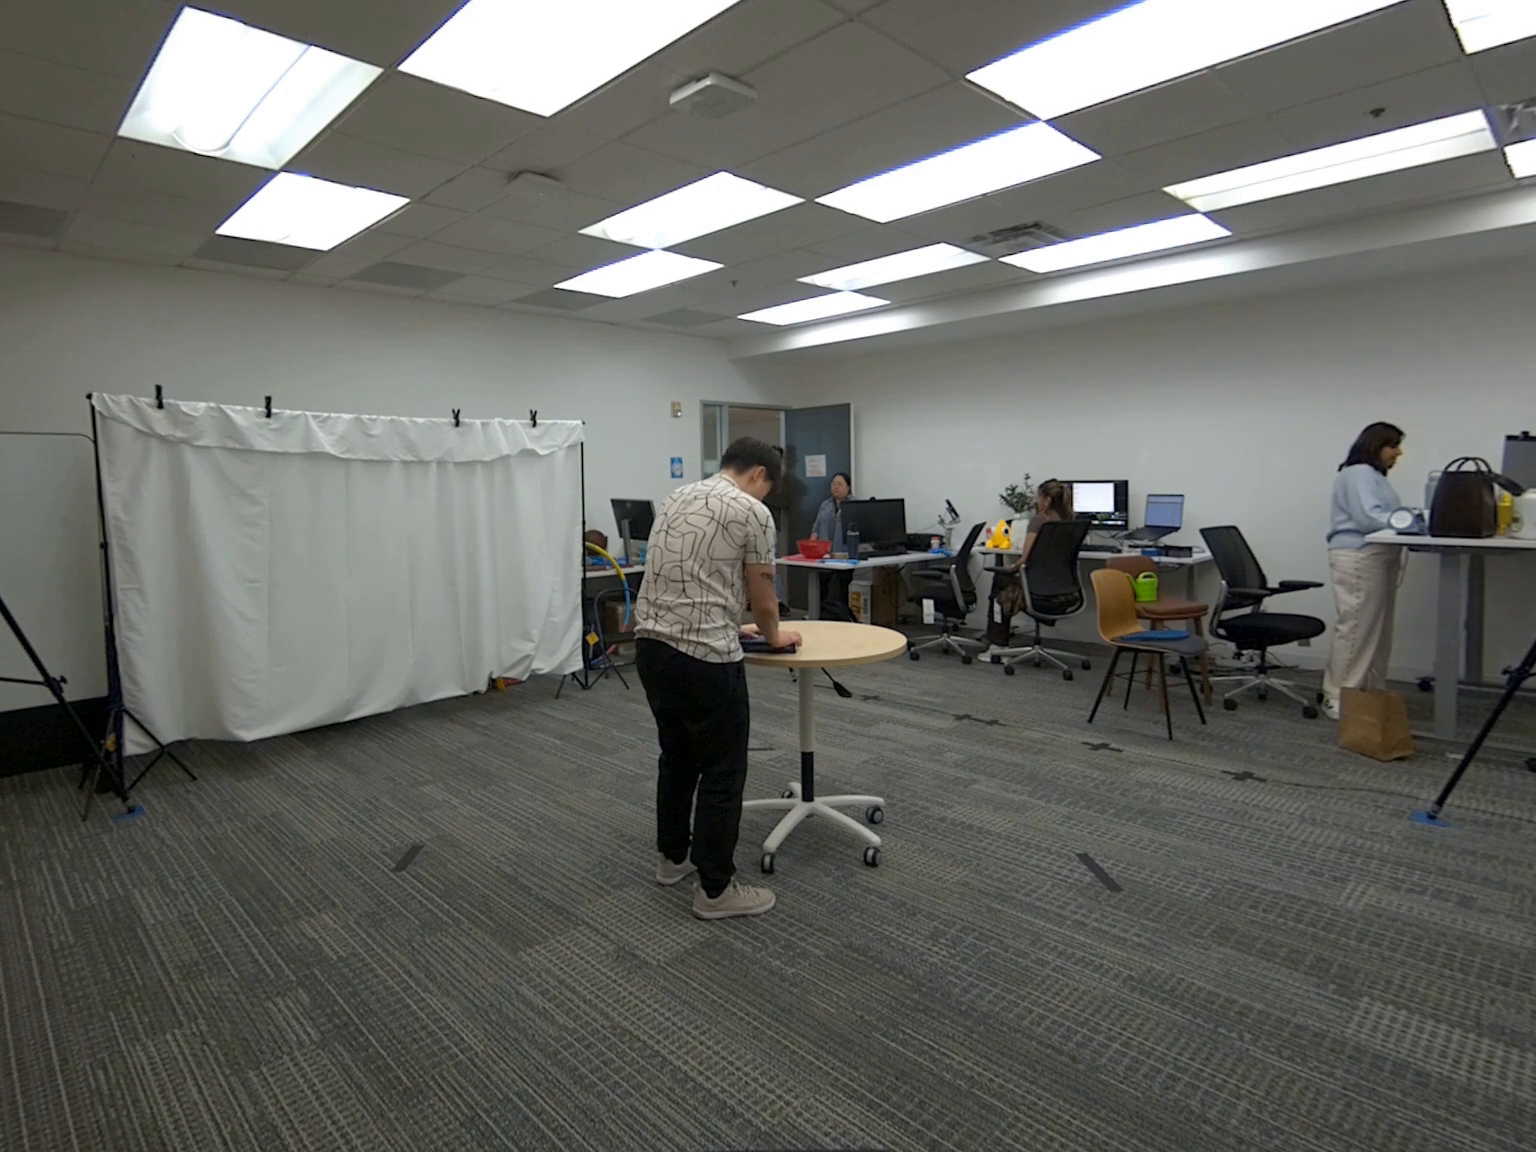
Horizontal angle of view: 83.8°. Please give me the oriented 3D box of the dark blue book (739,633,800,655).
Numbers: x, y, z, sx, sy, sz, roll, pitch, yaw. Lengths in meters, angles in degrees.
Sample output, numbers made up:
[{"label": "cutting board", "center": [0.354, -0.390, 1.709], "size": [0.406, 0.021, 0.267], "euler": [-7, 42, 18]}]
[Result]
[{"label": "dark blue book", "center": [-0.006, 0.251, 3.137], "size": [0.247, 0.045, 0.163], "euler": [0, 8, 9]}]
